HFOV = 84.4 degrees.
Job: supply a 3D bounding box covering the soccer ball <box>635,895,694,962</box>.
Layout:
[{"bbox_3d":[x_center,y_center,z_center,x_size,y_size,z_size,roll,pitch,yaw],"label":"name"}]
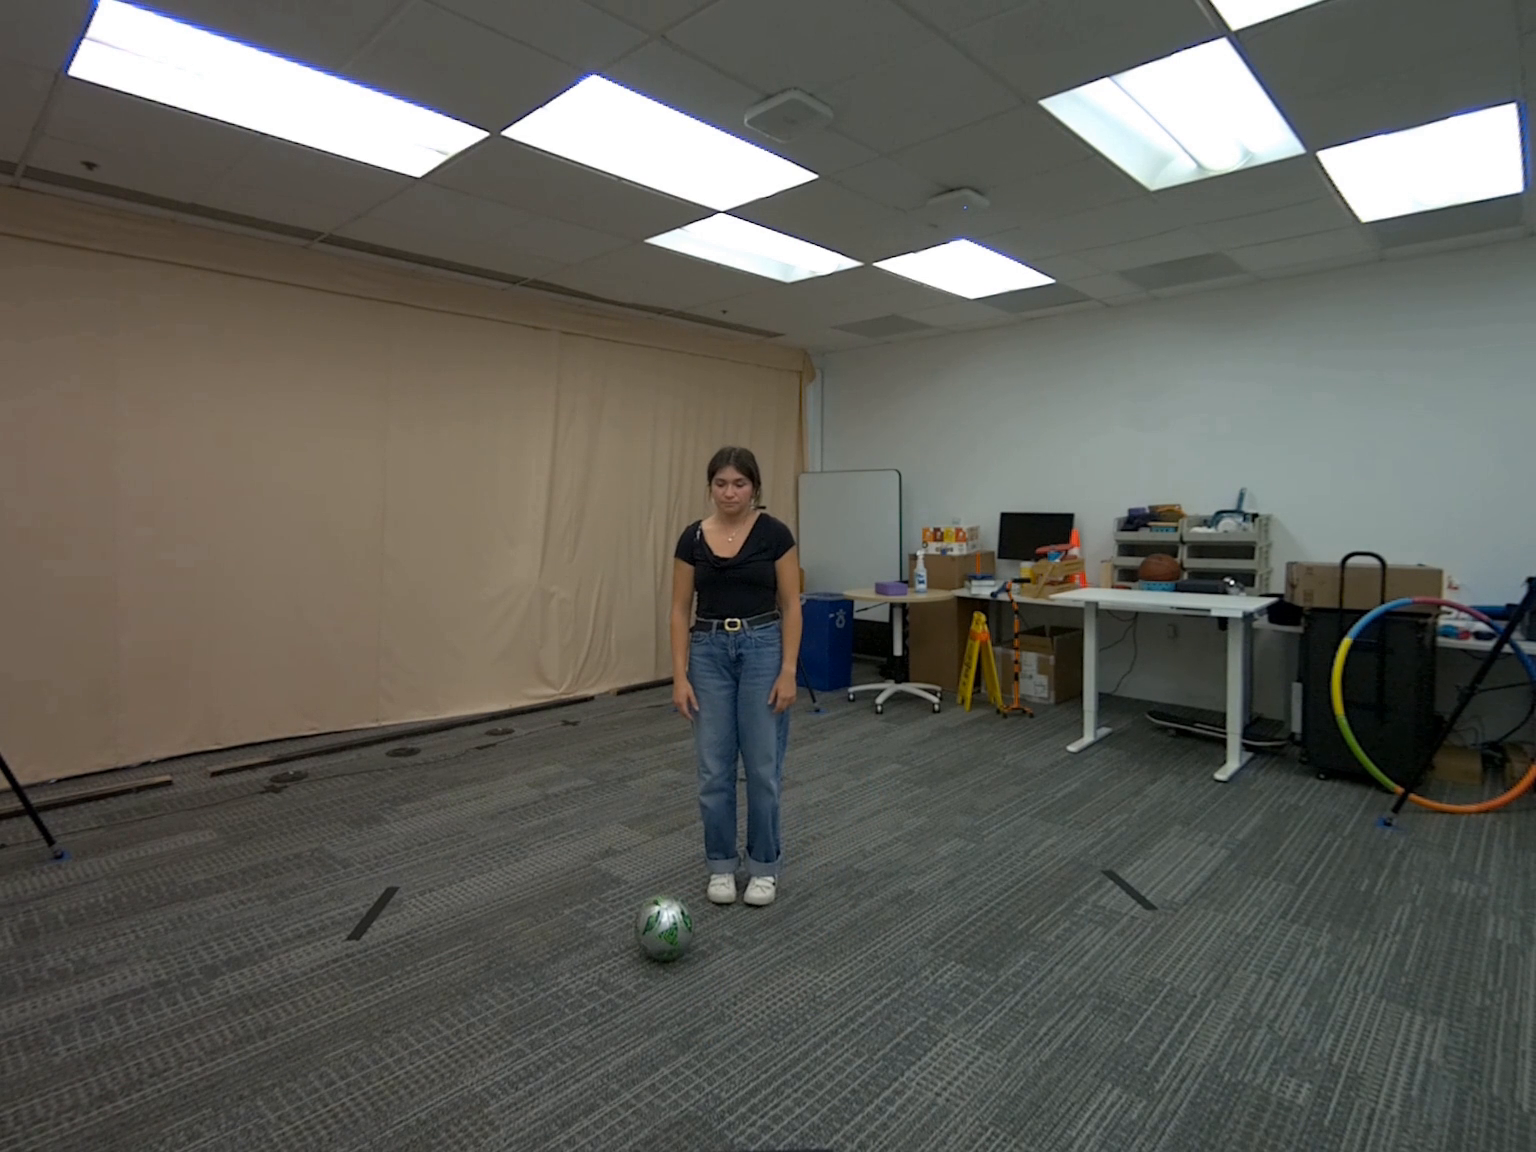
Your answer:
[{"bbox_3d":[-0.311,1.082,2.595,0.187,0.187,0.188,0,4,-2],"label":"soccer ball"}]
